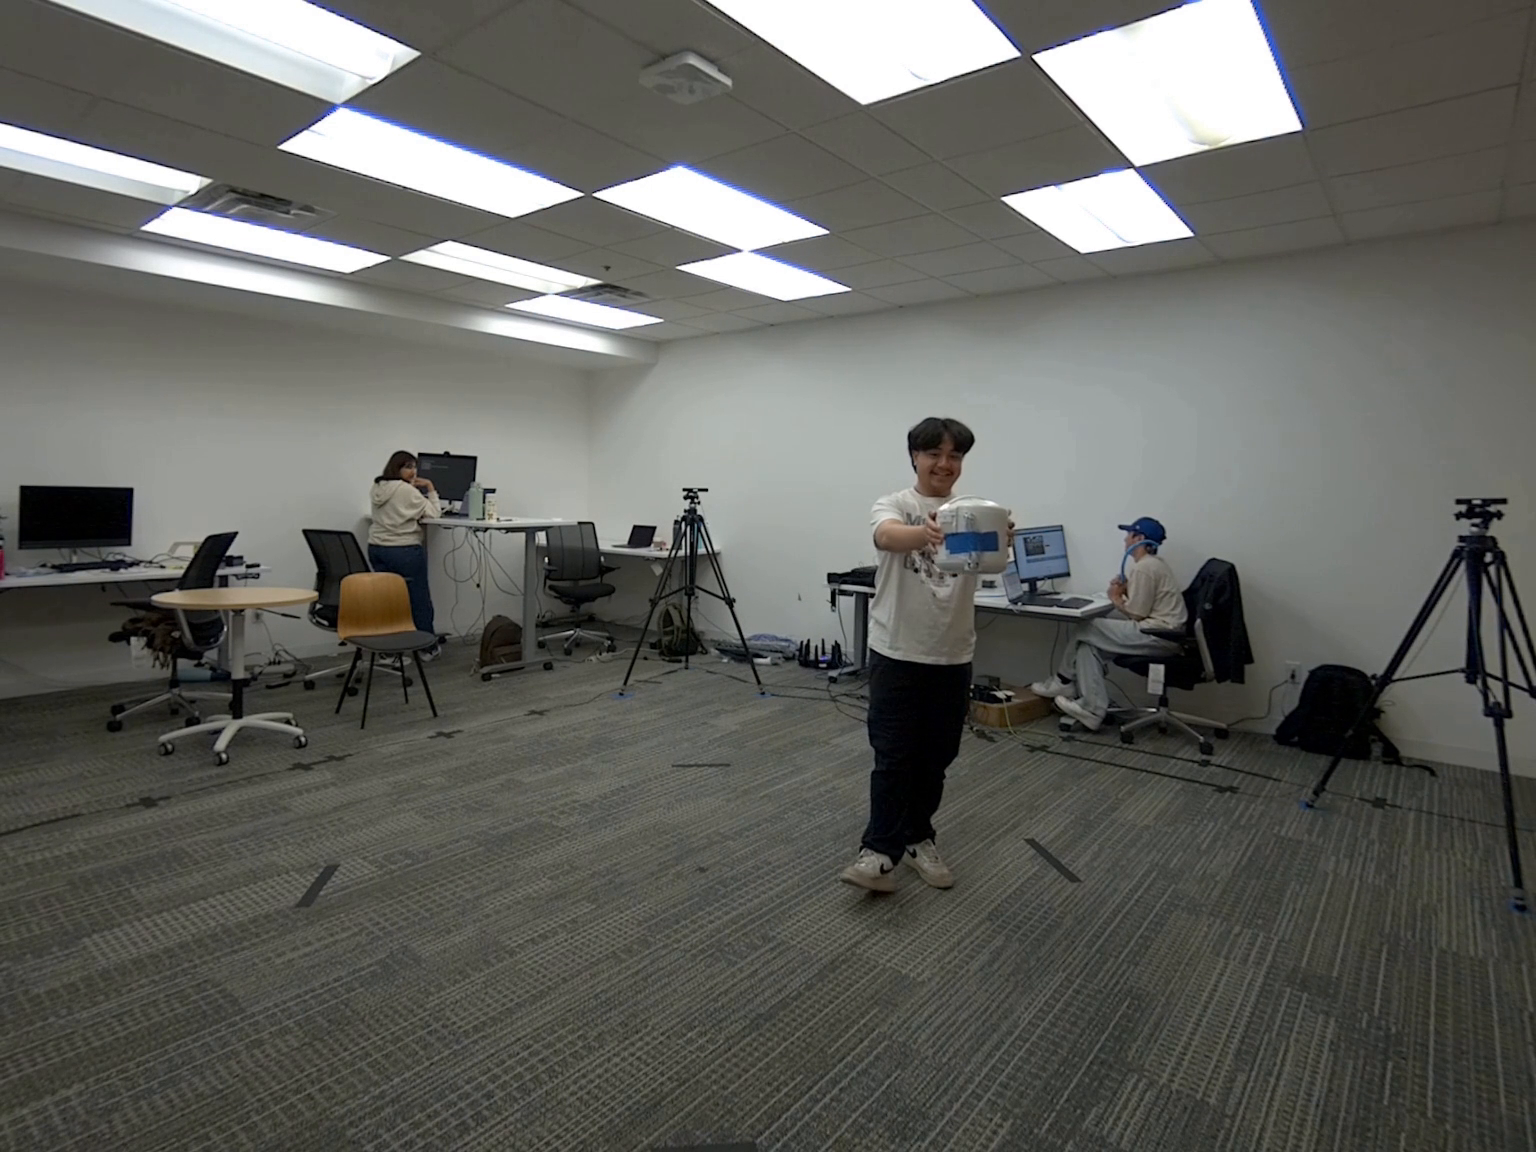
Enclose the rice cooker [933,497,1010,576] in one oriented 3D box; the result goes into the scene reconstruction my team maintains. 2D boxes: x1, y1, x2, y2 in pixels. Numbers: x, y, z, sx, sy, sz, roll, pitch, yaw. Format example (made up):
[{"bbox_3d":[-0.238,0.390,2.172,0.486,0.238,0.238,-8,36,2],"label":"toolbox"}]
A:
[{"bbox_3d":[0.598,-0.125,2.529,0.214,0.234,0.223,6,-6,-31],"label":"rice cooker"}]
